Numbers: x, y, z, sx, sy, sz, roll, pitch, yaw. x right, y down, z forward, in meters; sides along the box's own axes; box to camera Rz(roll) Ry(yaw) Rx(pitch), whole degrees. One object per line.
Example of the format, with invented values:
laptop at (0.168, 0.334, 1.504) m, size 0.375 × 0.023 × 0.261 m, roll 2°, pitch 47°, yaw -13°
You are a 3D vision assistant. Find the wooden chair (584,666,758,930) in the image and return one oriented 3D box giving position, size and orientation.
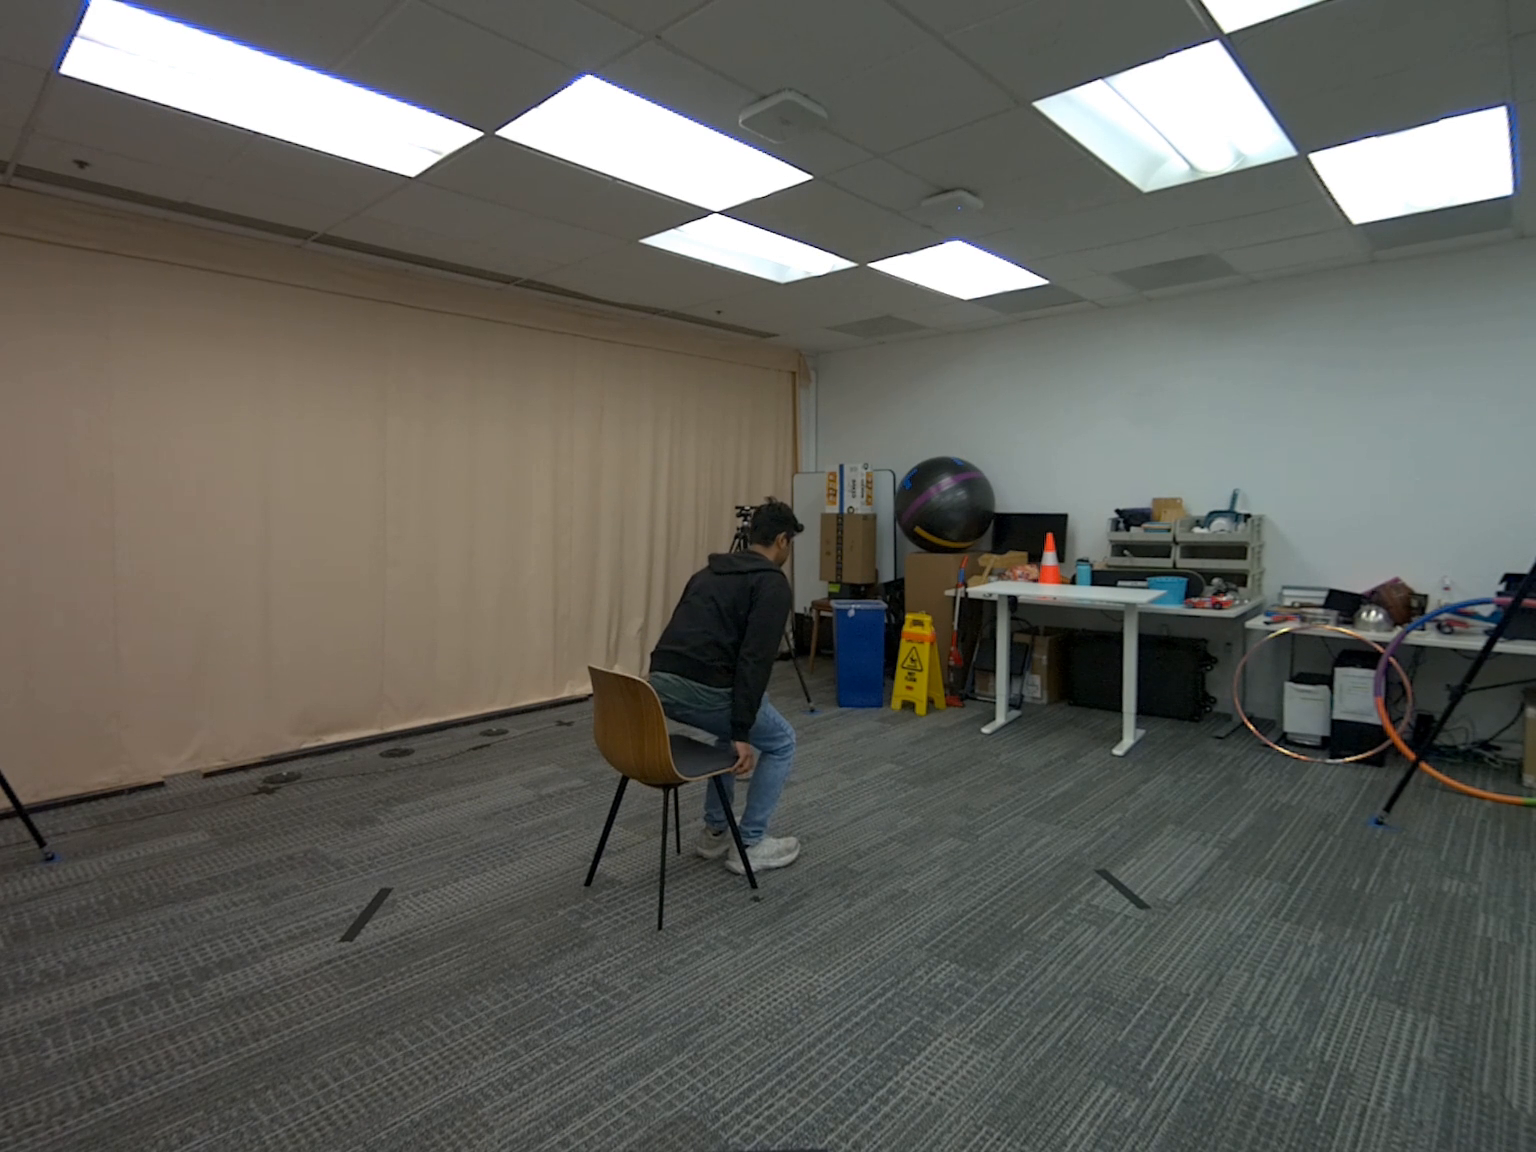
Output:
wooden chair at (-0.348, 0.711, 3.055) m, size 0.508 × 0.874 × 0.494 m, roll -9°, pitch 7°, yaw -43°
